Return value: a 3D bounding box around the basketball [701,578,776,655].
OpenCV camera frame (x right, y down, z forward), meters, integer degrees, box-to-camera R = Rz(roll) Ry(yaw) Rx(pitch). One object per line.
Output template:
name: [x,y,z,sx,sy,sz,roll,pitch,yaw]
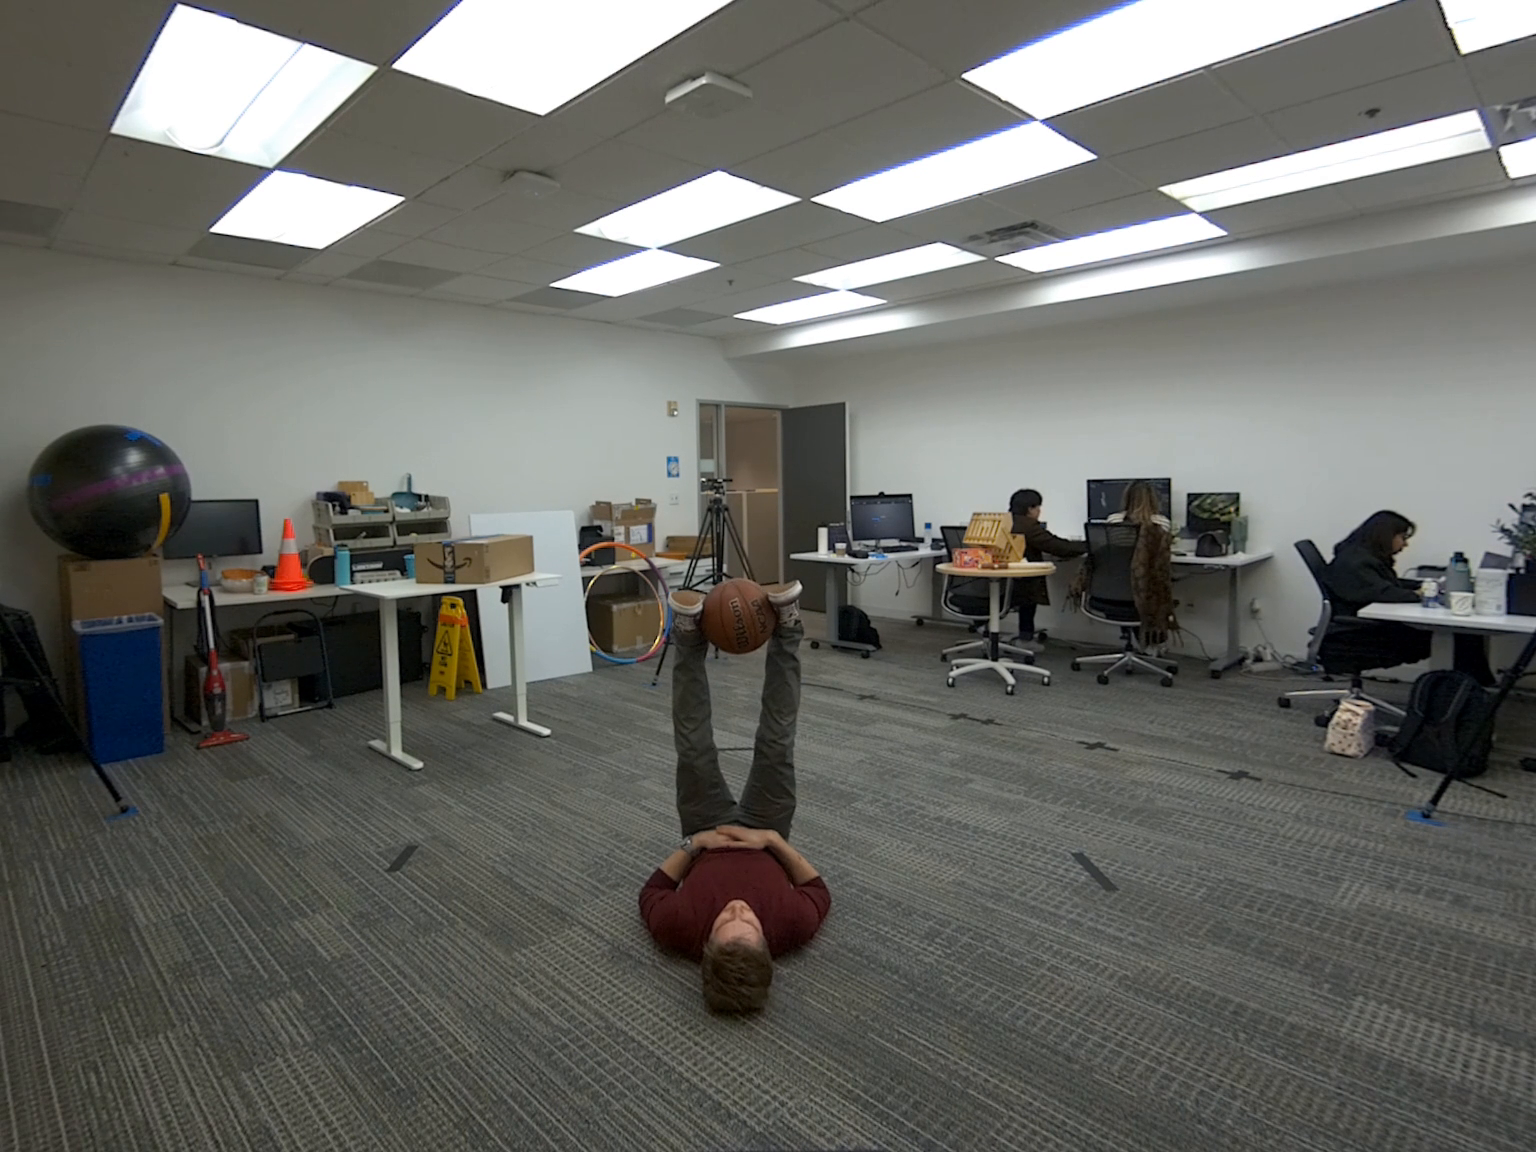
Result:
basketball: [-0.087,0.125,2.704,0.236,0.236,0.236,0,1,-2]
